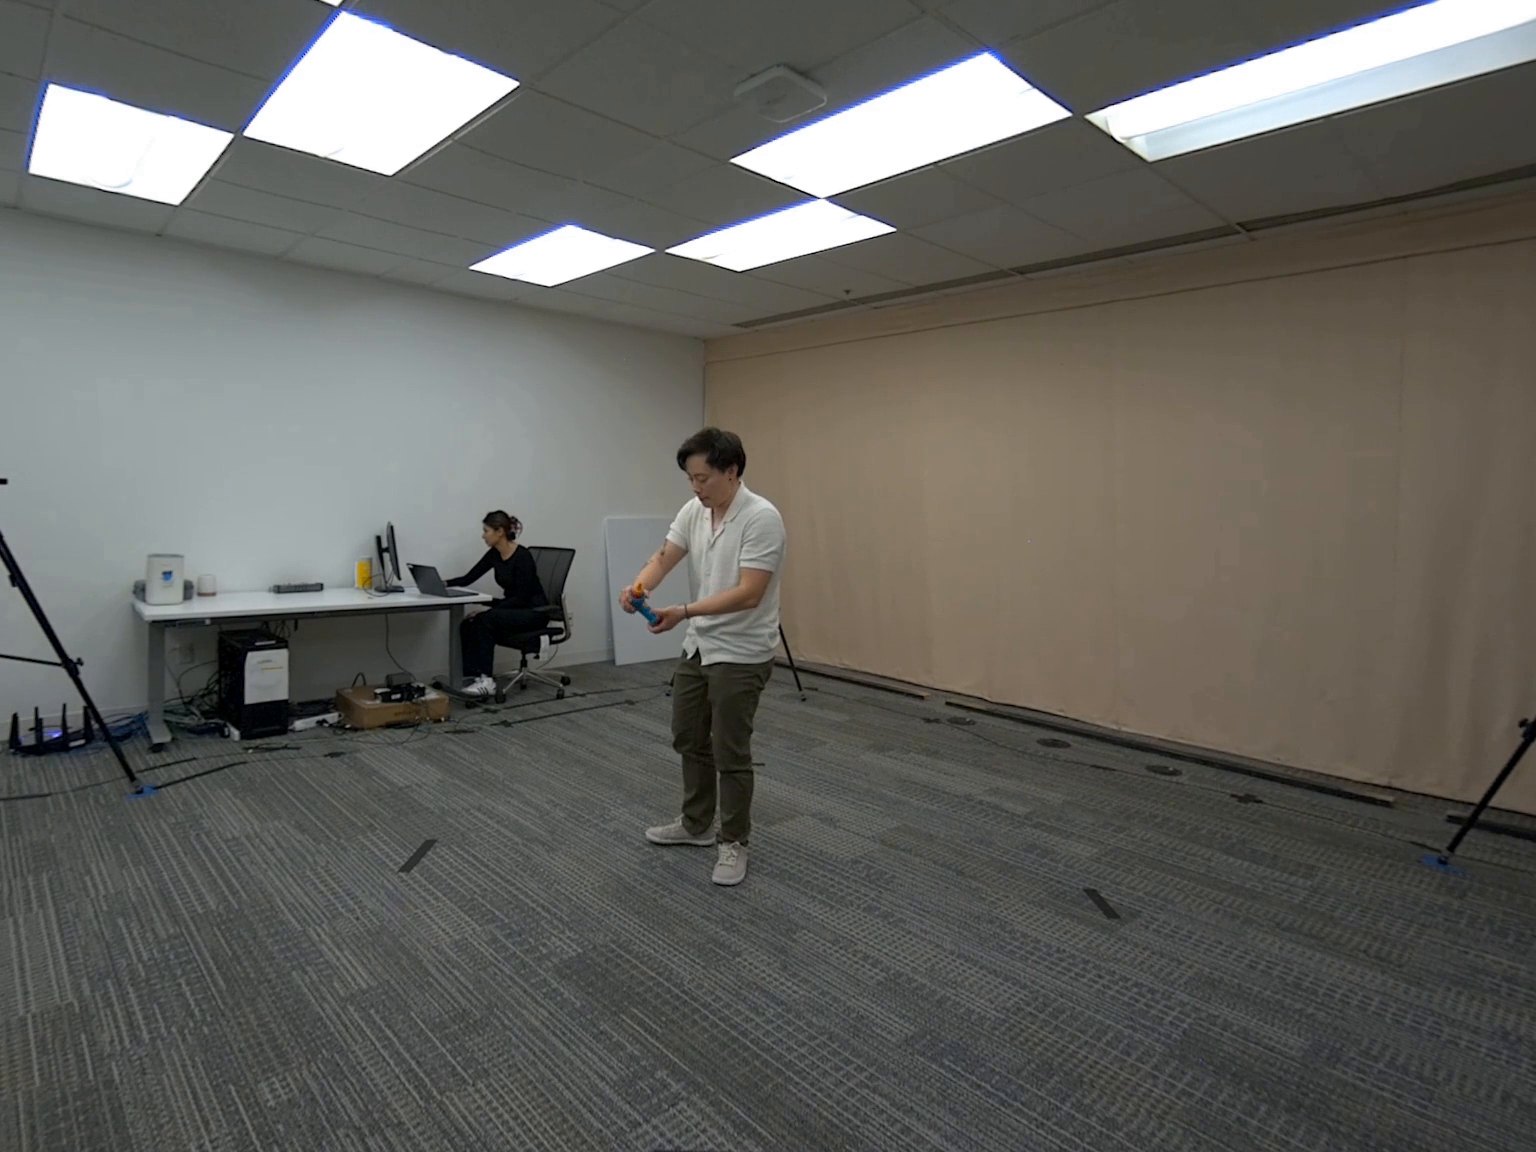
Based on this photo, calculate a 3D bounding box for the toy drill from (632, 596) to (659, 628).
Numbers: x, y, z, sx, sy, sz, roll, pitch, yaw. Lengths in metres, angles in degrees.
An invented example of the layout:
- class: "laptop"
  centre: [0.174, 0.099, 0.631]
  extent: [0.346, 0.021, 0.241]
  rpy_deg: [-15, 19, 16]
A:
- class: "toy drill"
  centre: [-0.414, 0.083, 2.899]
  extent: [0.146, 0.169, 0.061]
  rpy_deg: [30, 12, 1]
